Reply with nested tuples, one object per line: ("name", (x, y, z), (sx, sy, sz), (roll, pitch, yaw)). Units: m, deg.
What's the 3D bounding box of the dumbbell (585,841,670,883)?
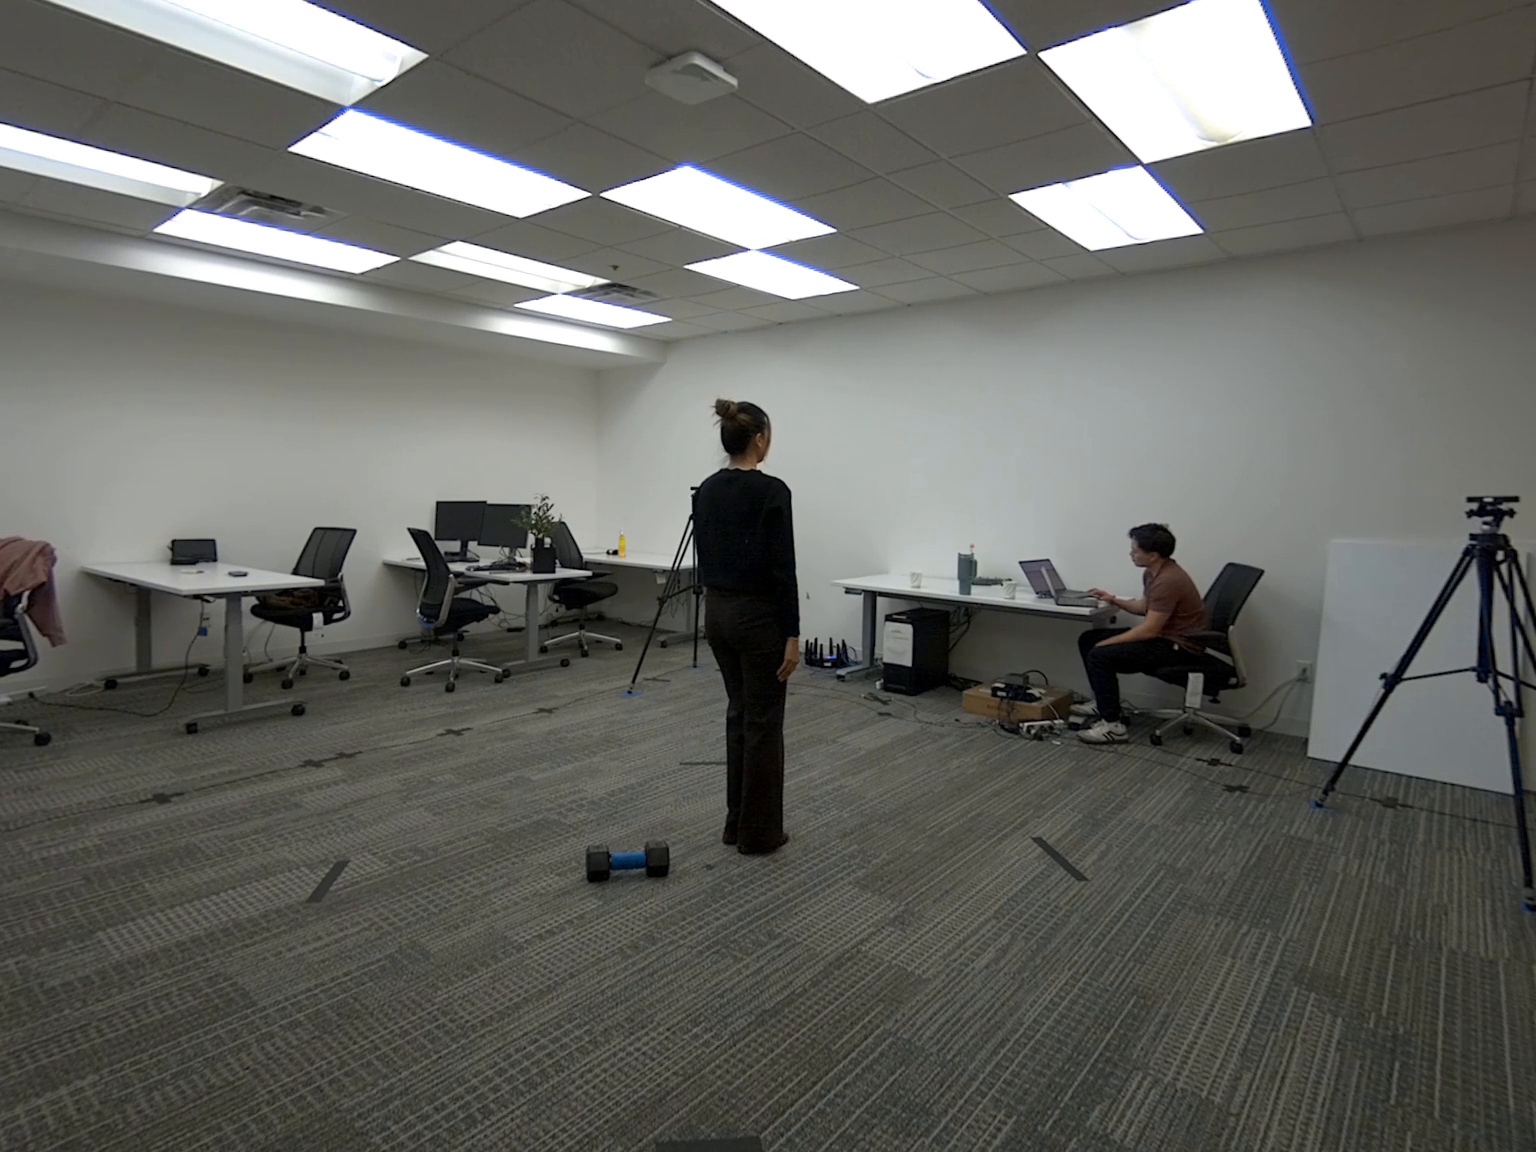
("dumbbell", (-0.512, 1.017, 3.030), (0.289, 0.120, 0.112), (0, 34, -13))
